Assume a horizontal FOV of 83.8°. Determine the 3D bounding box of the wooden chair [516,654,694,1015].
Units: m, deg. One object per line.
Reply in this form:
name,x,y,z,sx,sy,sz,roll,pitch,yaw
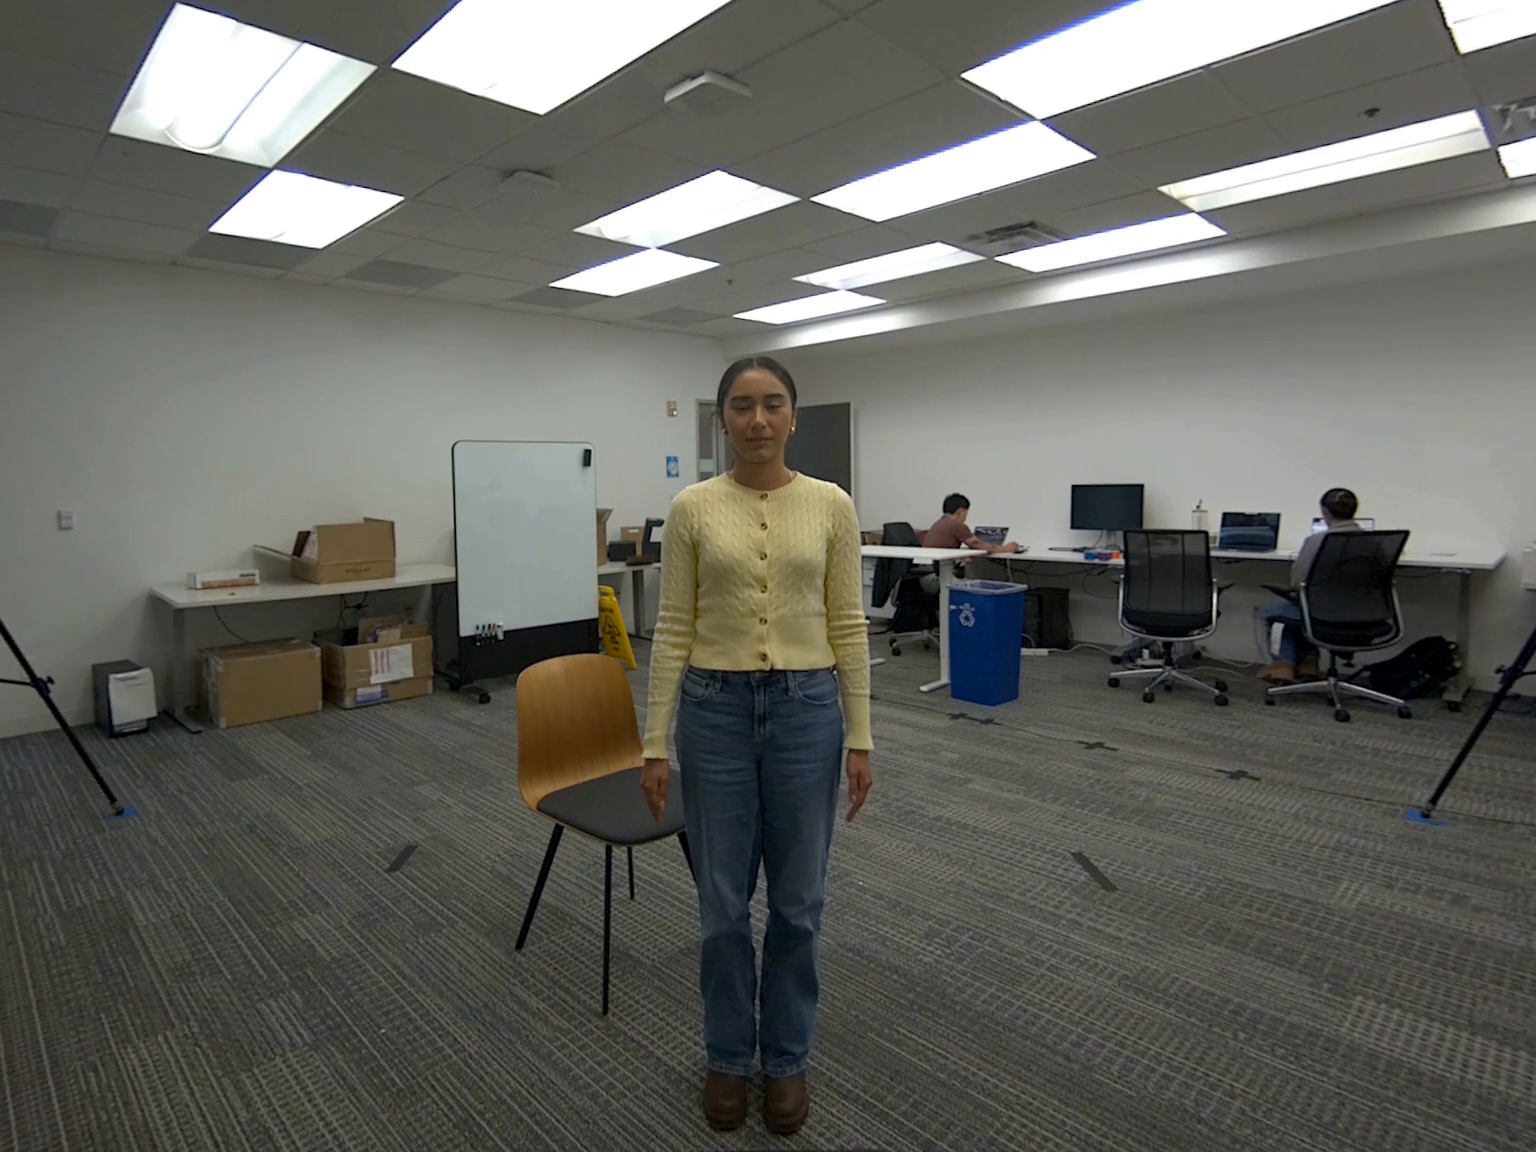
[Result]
wooden chair,-0.442,0.692,2.521,0.538,0.876,0.465,-2,2,44
